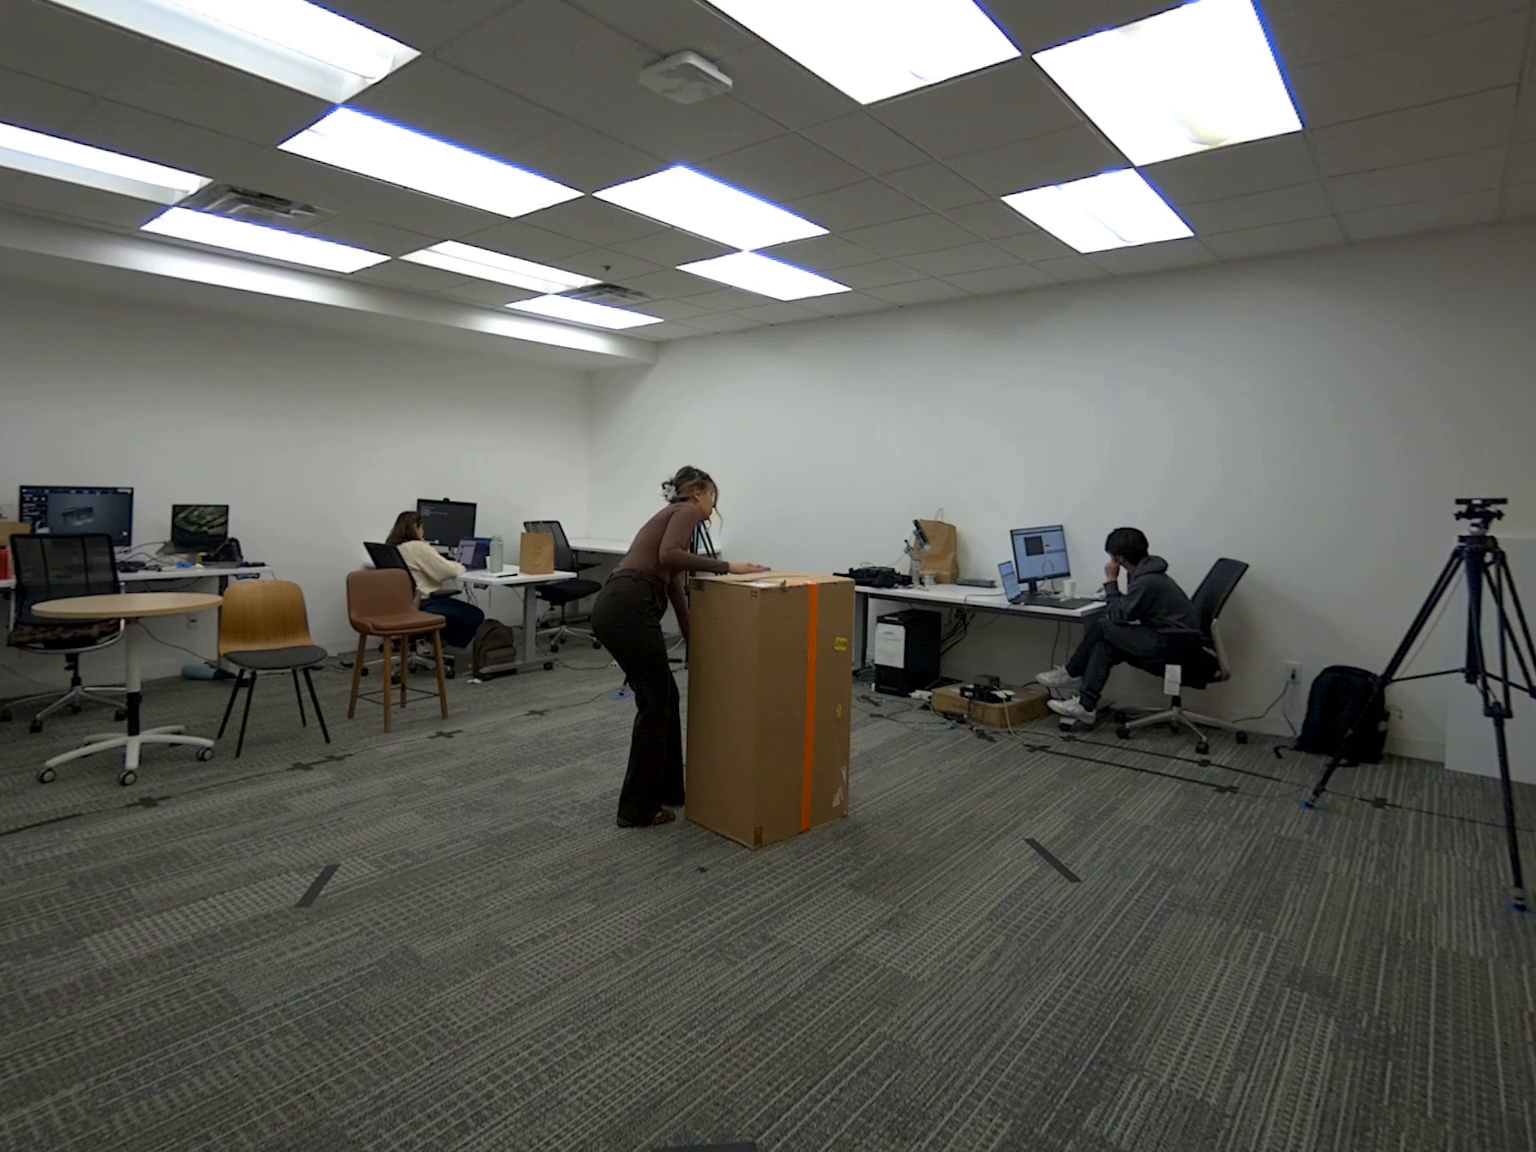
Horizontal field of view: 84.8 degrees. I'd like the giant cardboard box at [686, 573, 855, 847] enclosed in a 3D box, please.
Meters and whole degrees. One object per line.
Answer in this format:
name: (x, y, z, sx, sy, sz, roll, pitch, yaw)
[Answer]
giant cardboard box: (0.003, 0.514, 3.601, 0.566, 1.024, 0.462, -2, 5, -43)
